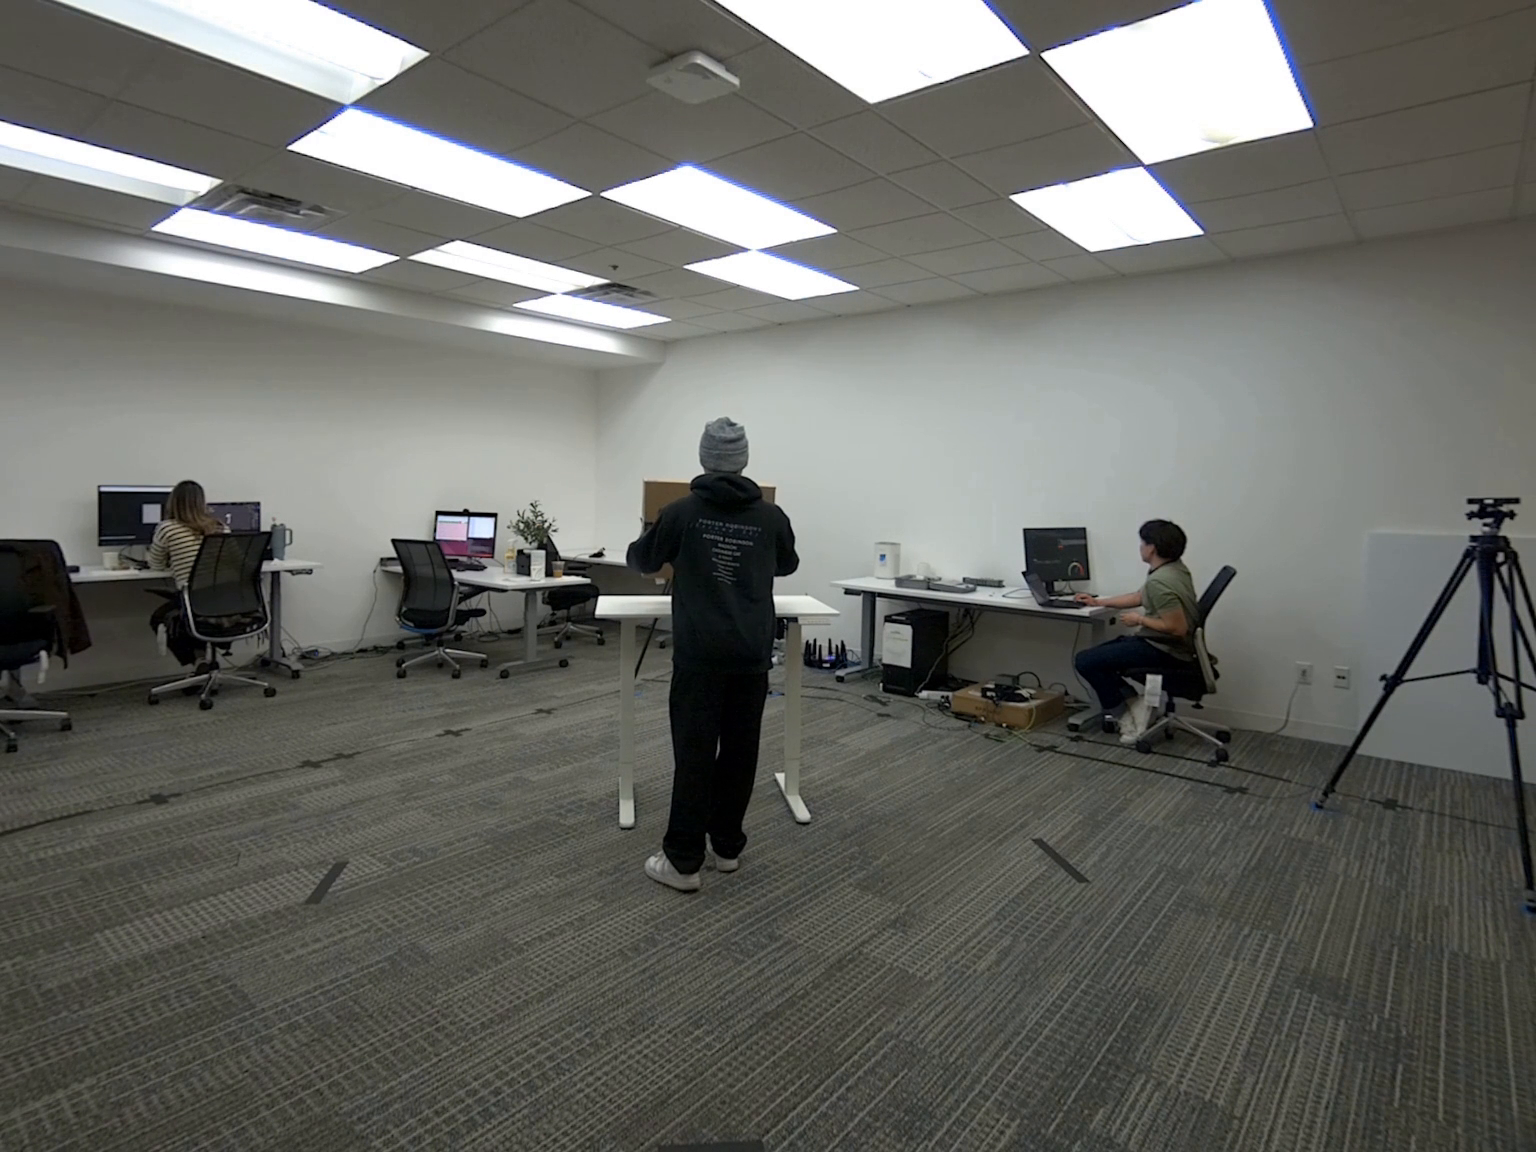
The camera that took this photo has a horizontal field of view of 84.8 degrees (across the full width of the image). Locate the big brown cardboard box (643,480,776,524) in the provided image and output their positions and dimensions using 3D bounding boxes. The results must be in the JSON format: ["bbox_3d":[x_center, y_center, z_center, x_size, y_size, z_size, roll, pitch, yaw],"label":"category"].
[{"bbox_3d":[-0.269,-0.207,3.741,0.584,0.415,0.237,2,7,-8],"label":"big brown cardboard box"}]
